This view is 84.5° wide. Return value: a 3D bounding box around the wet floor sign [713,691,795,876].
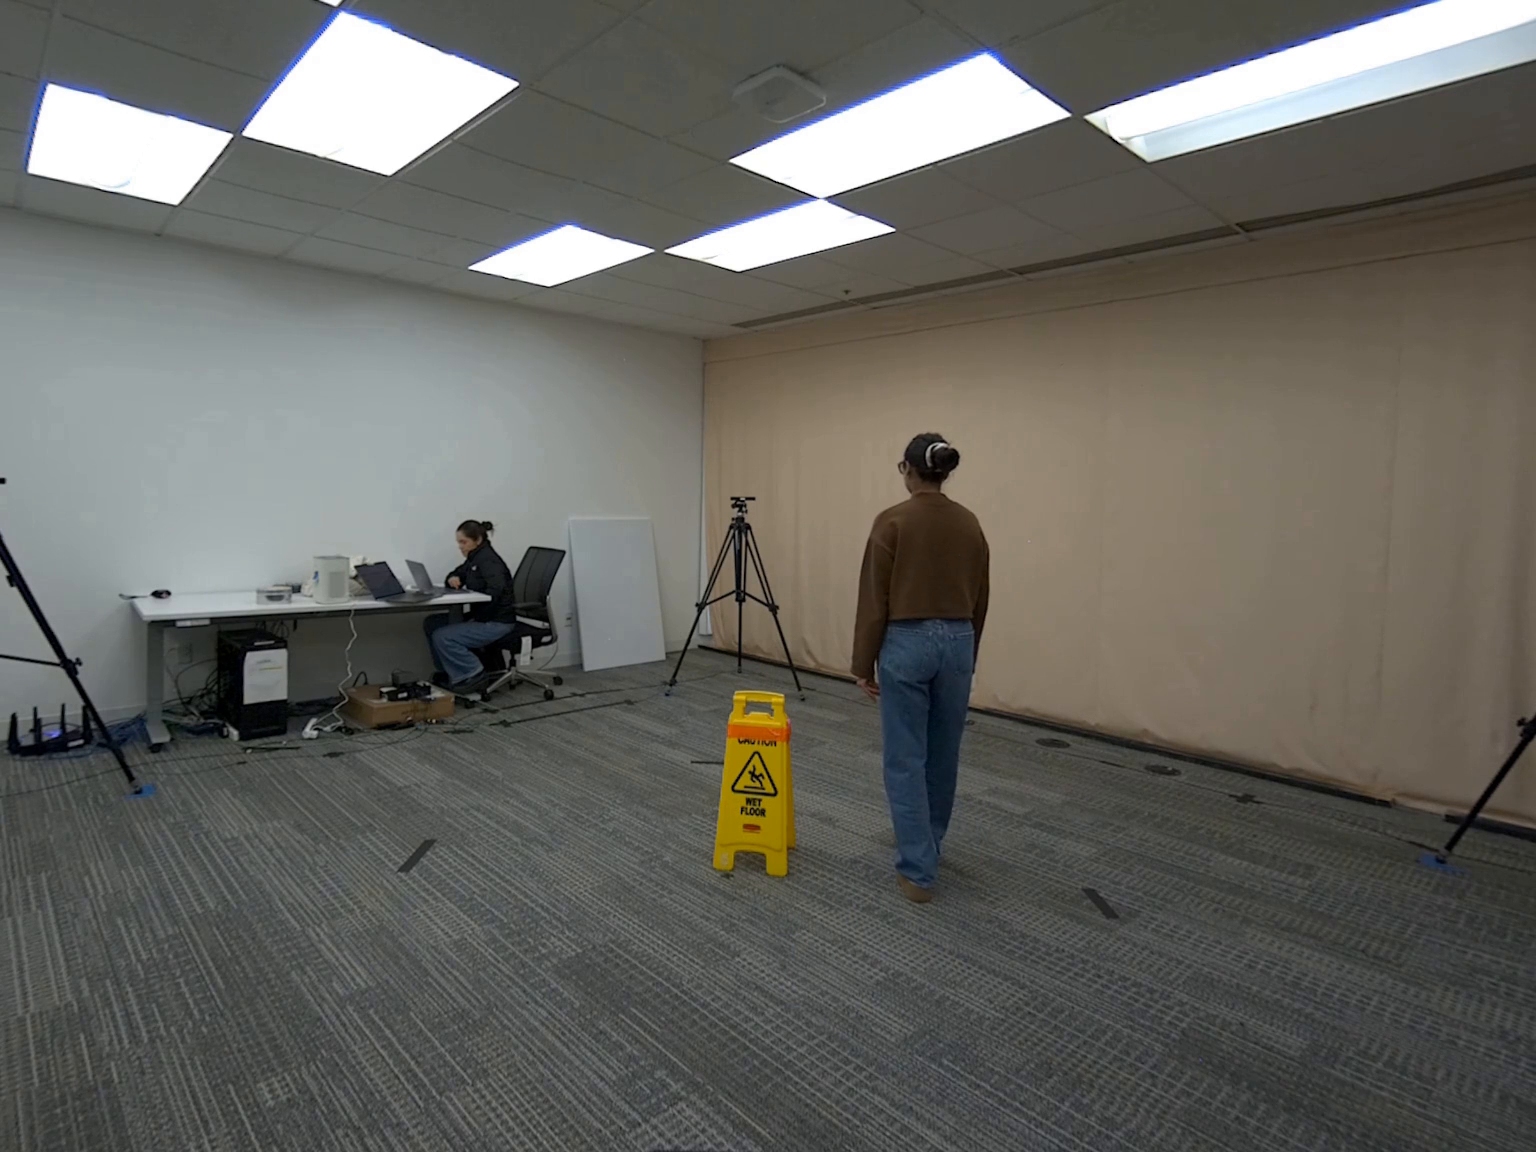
[{"bbox_3d":[-0.042,0.769,3.257,0.284,0.645,0.288,3,3,9],"label":"wet floor sign"}]
